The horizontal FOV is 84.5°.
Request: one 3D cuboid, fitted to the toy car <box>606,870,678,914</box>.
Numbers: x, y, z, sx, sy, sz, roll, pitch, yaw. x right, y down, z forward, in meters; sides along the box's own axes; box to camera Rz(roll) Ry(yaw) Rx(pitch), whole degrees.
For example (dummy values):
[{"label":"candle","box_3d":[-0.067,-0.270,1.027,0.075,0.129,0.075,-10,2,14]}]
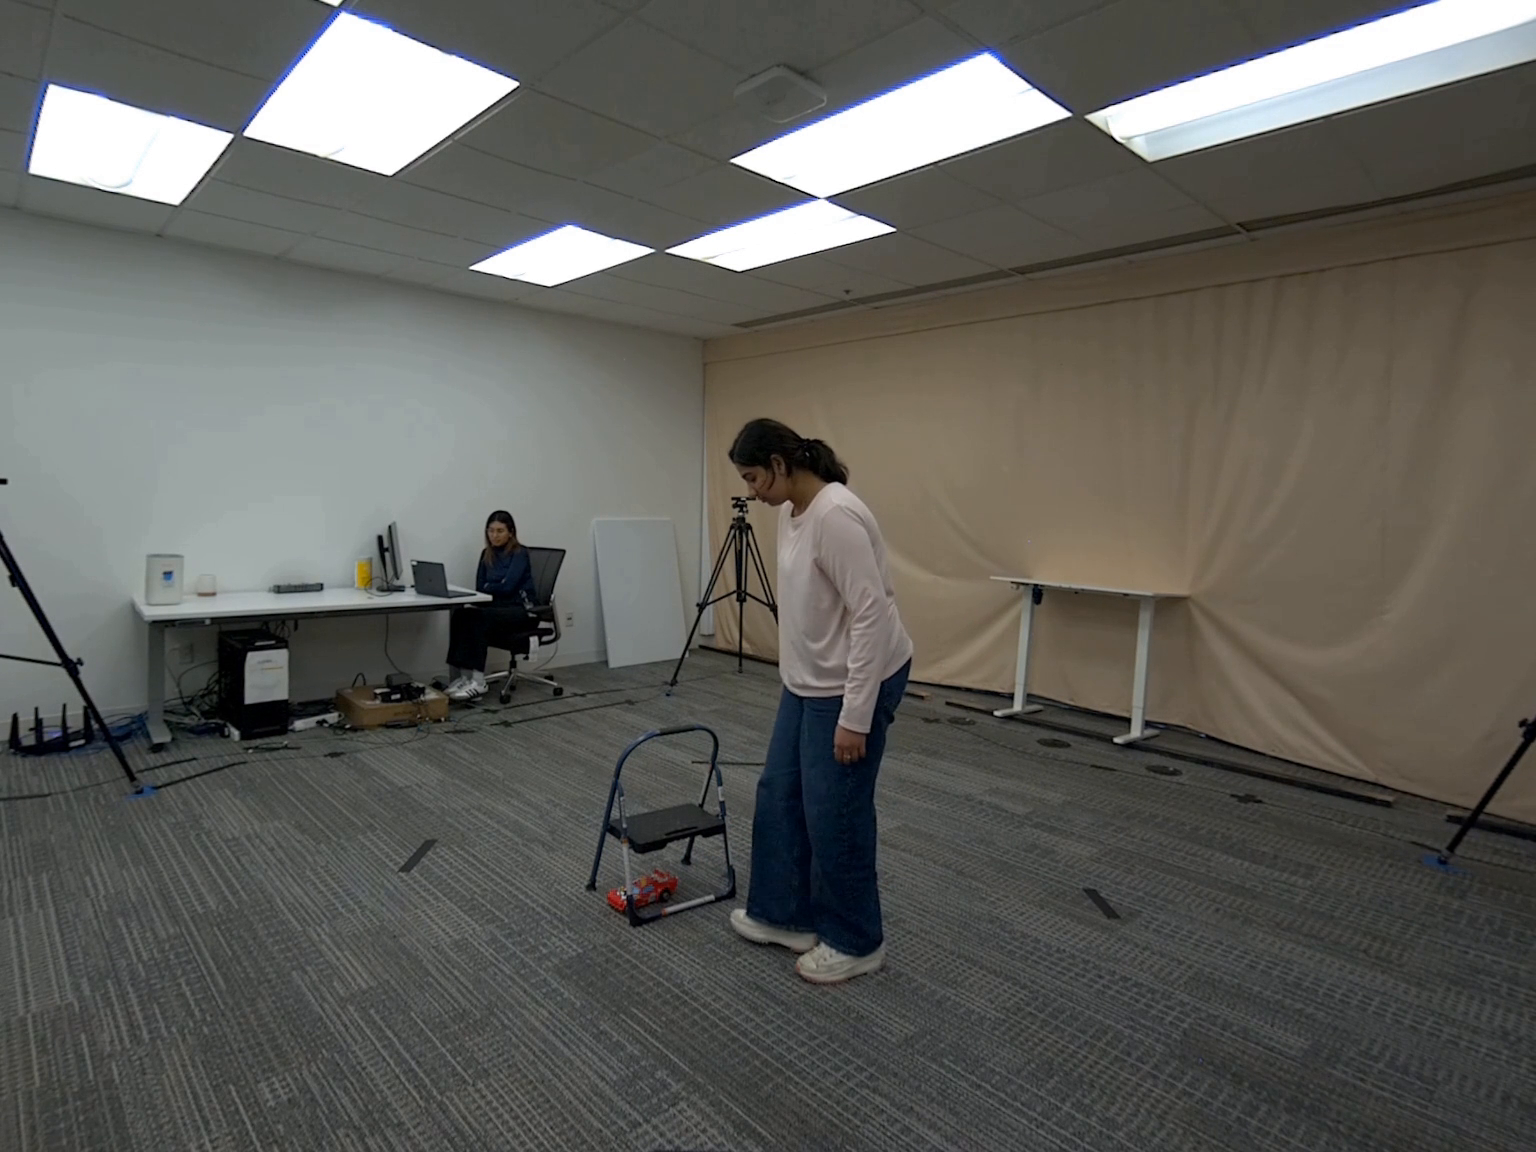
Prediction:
[{"label":"toy car","box_3d":[-0.426,1.083,2.893,0.250,0.082,0.133,-18,16,-39]}]
